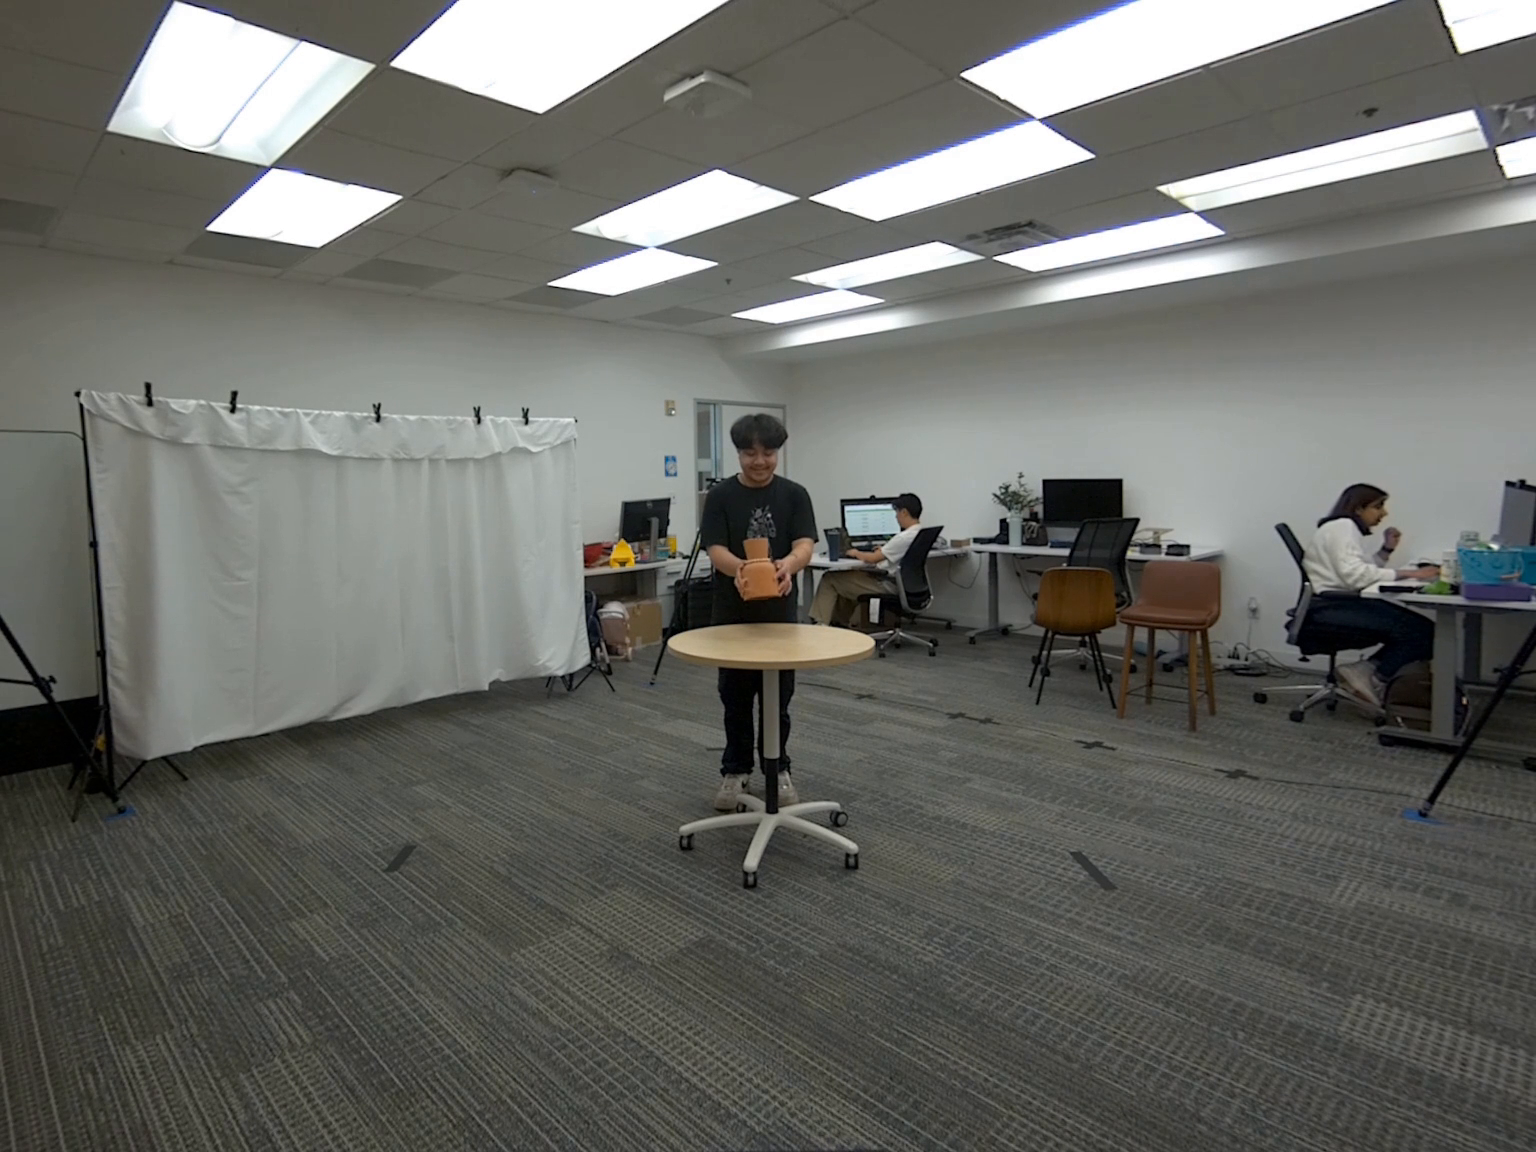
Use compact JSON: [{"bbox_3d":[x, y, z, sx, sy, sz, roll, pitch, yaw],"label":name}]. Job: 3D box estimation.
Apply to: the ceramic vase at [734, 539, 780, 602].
[{"bbox_3d":[-0.043,-0.022,3.241,0.135,0.221,0.156,-9,-6,8],"label":"ceramic vase"}]
